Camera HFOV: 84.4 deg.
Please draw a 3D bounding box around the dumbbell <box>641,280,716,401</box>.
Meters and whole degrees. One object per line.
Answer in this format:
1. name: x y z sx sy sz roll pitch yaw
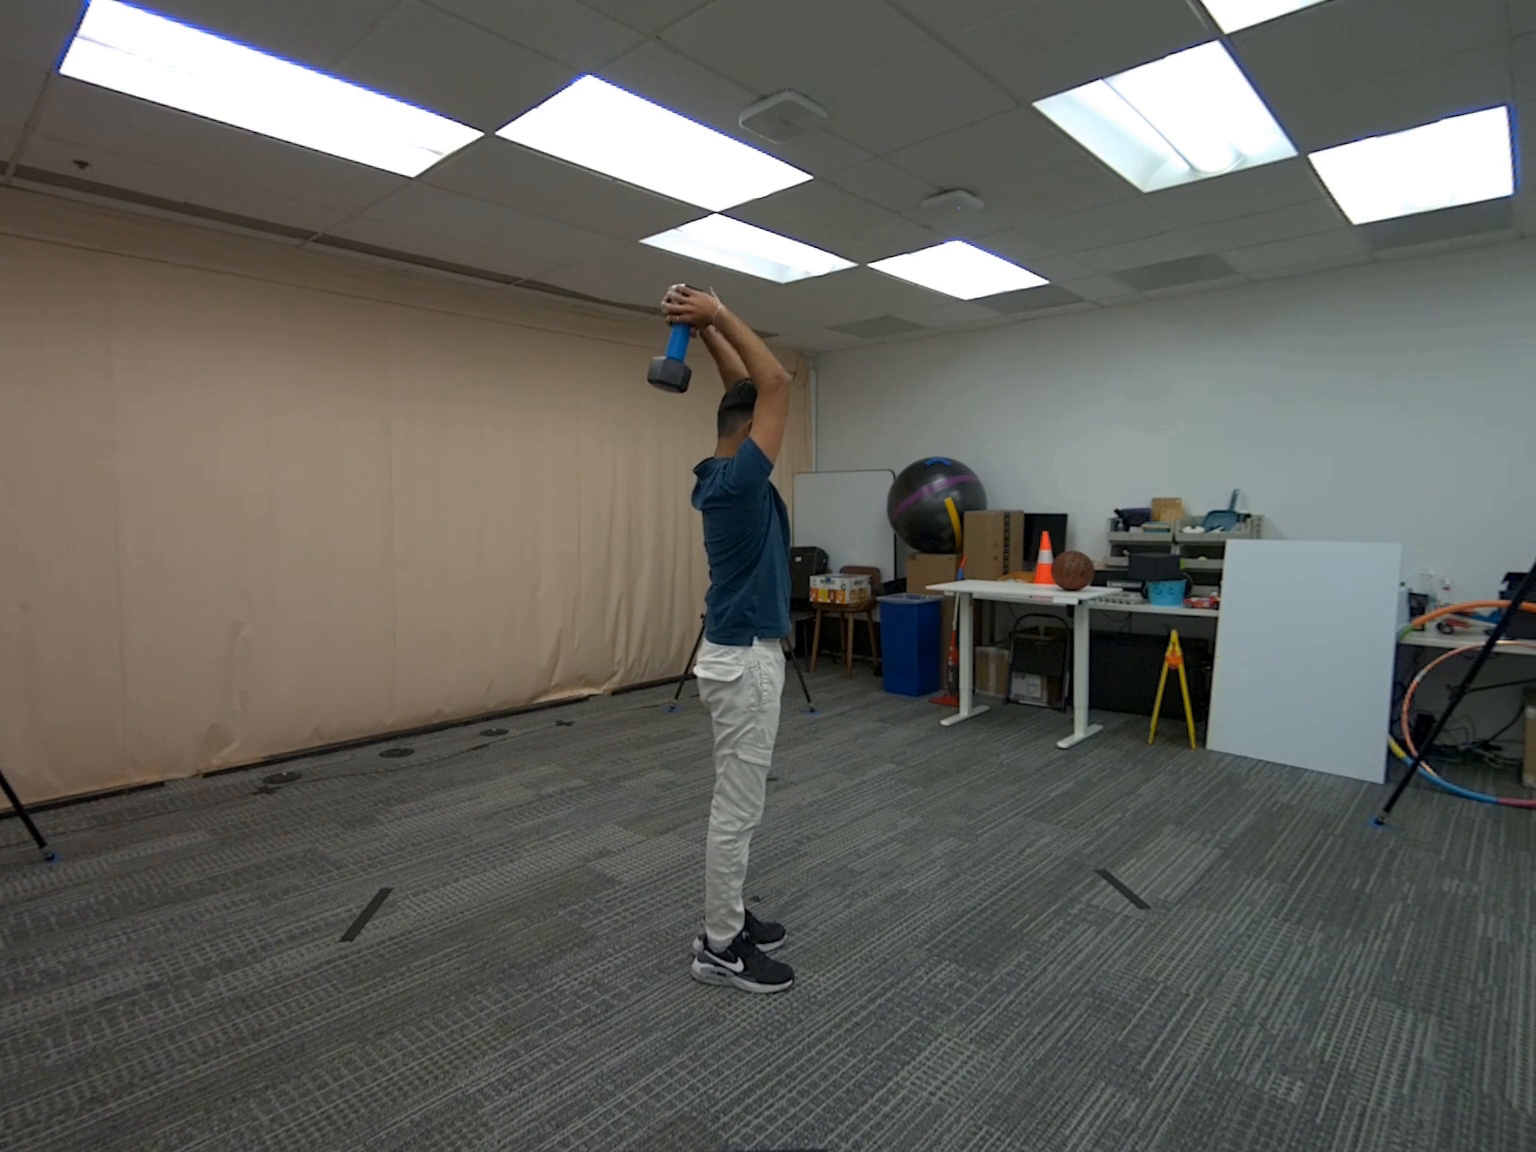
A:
1. dumbbell: -0.257 -0.665 2.406 0.121 0.293 0.110 16 1 -12
